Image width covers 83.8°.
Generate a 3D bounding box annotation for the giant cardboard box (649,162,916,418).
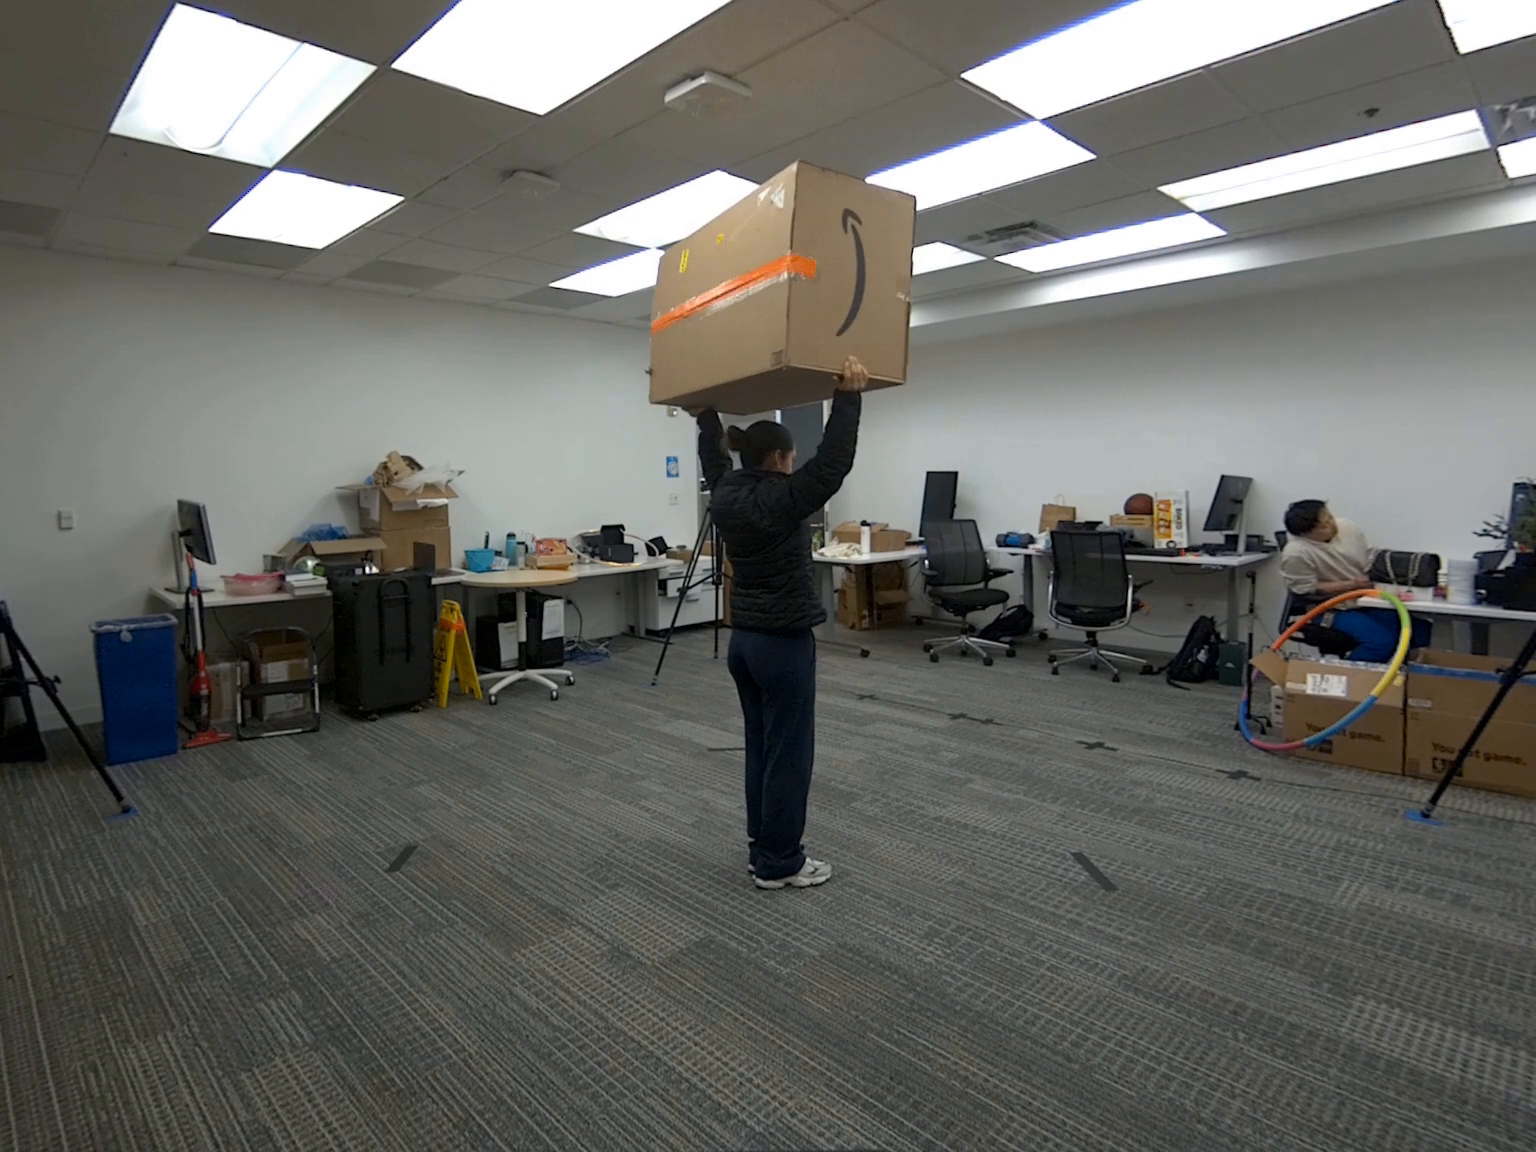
[{"bbox_3d":[-0.007,-0.897,2.930,0.436,0.583,1.054,2,2,-30],"label":"giant cardboard box"}]
